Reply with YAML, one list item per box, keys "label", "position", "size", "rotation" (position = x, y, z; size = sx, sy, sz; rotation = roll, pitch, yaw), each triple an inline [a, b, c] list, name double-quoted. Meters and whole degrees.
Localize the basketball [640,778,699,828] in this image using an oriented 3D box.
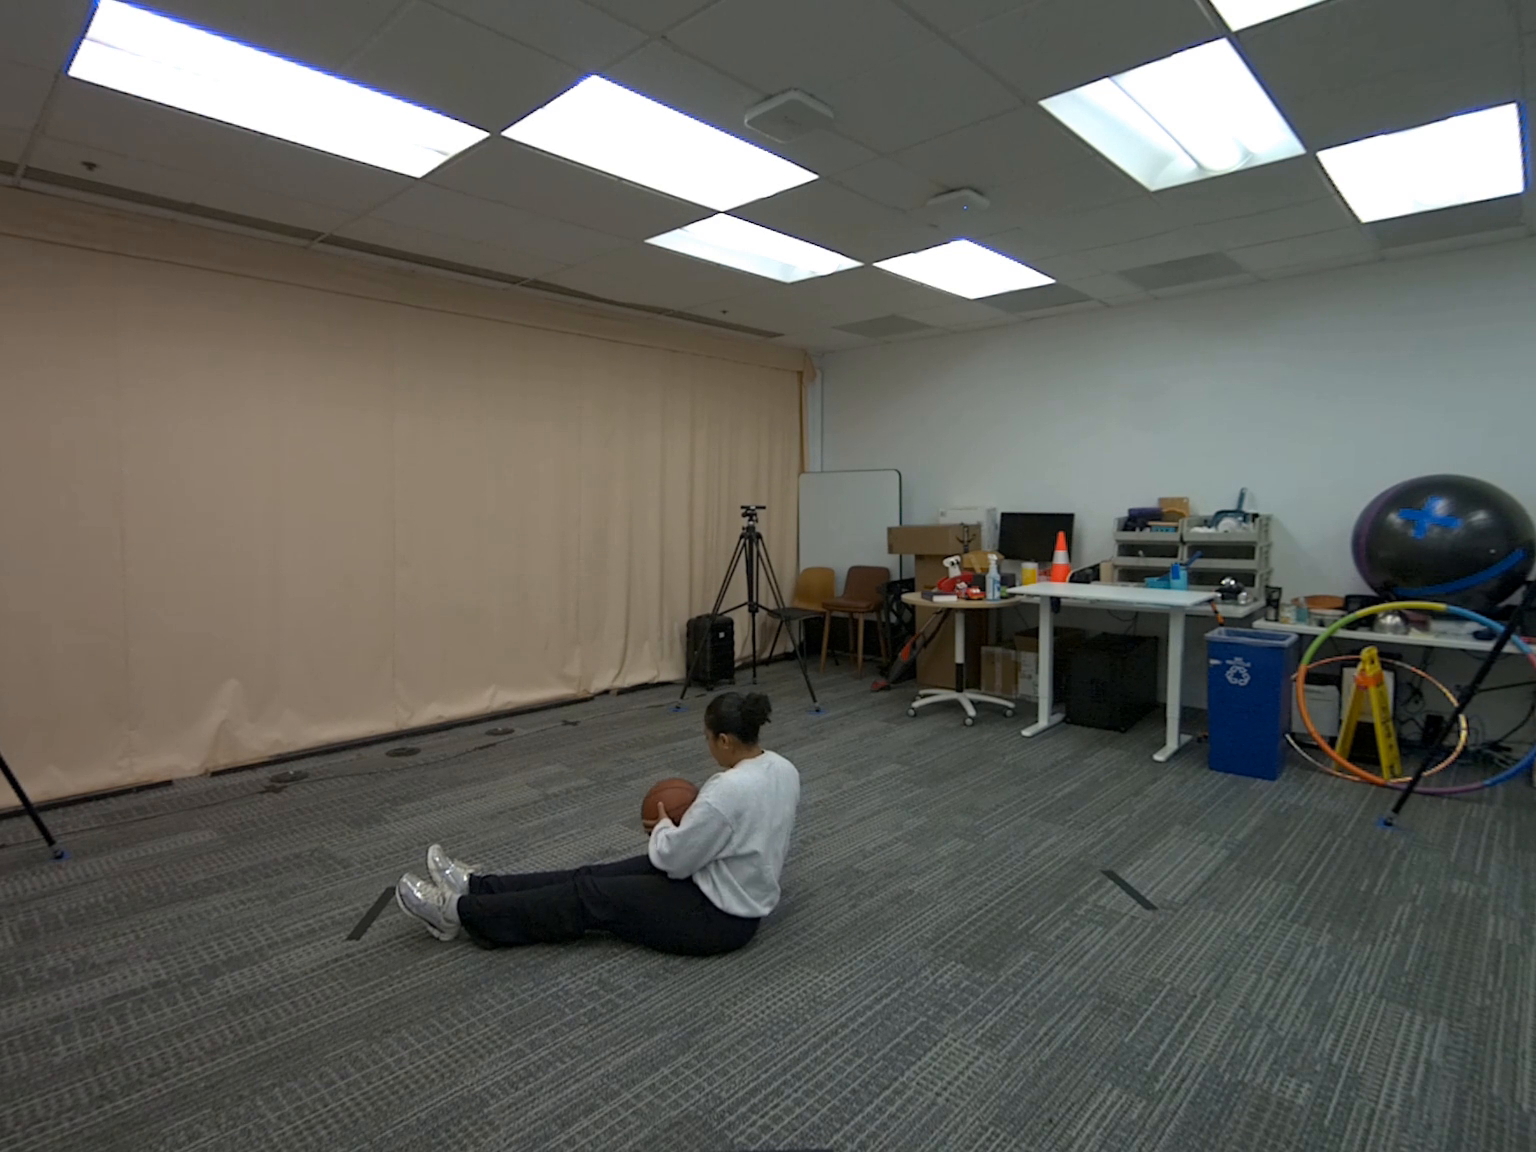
- label: "basketball"
  position: [-0.326, 0.858, 3.055]
  size: [0.236, 0.235, 0.237]
  rotation: [0, 4, -2]
